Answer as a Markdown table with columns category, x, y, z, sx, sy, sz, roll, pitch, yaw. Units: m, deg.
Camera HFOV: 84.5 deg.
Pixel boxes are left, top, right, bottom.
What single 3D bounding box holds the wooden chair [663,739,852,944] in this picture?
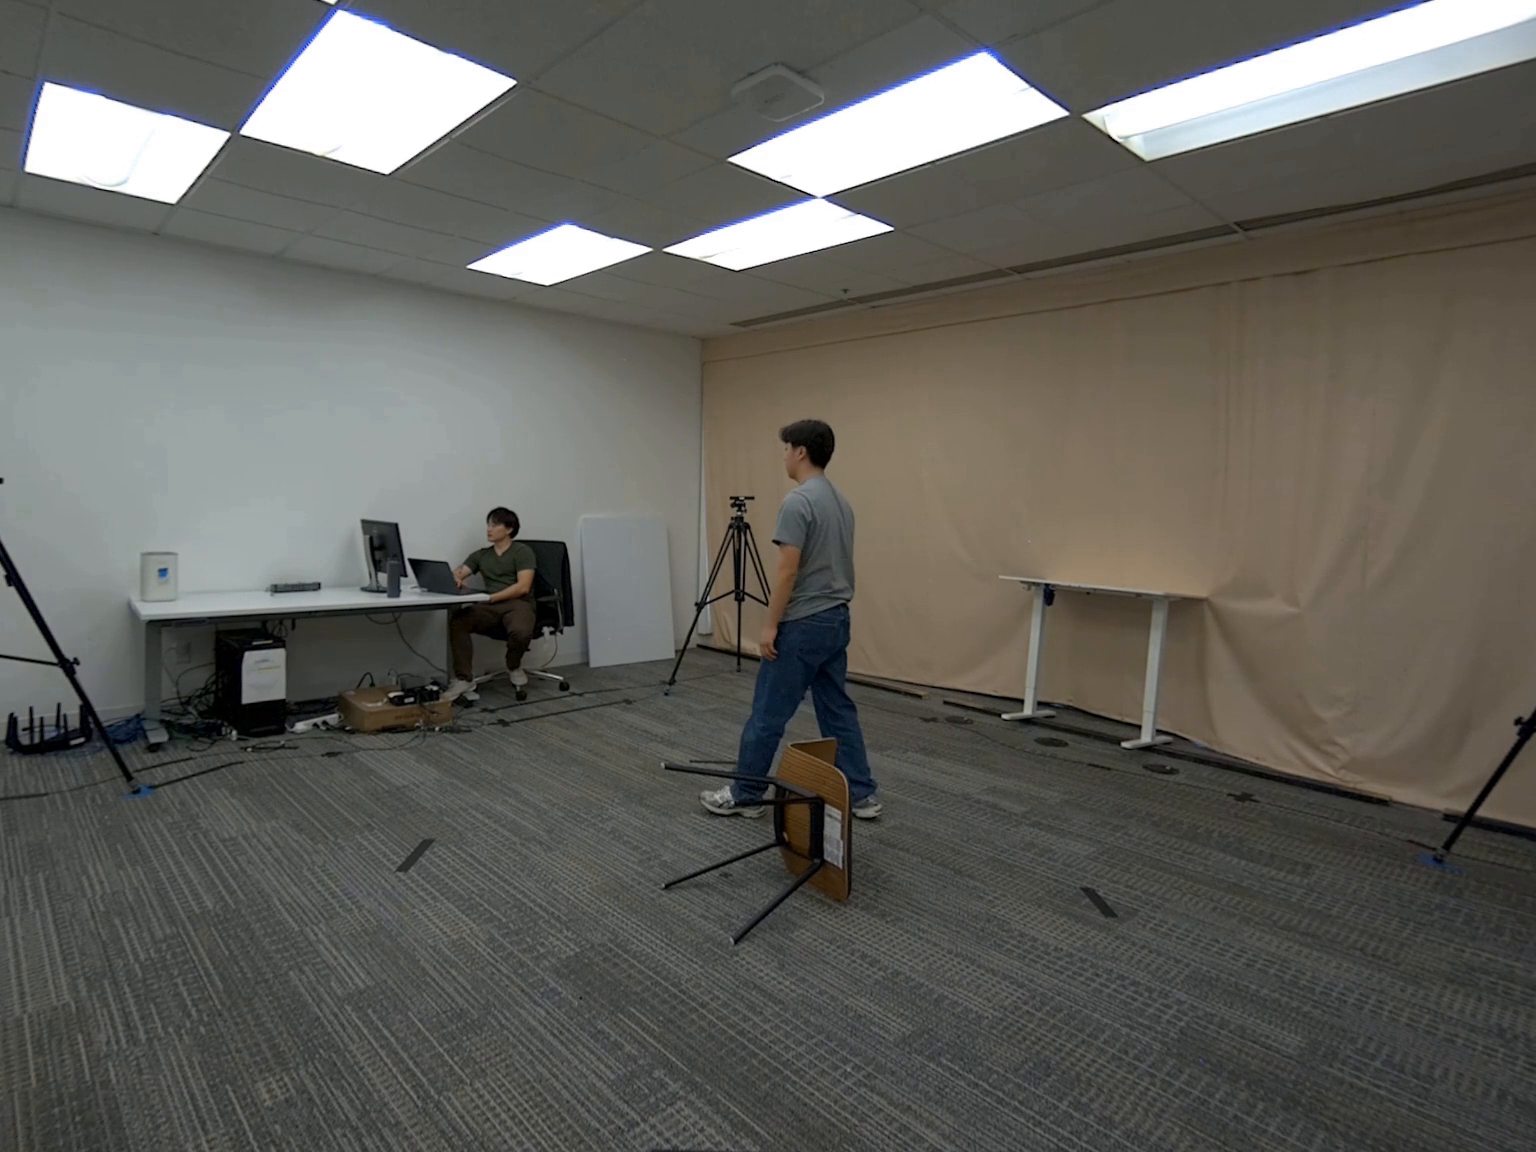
| category | x | y | z | sx | sy | sz | roll | pitch | yaw |
| --- | --- | --- | --- | --- | --- | --- | --- | --- | --- |
| wooden chair | 0.099 | 0.885 | 3.018 | 0.858 | 0.477 | 0.536 | -3 | 6 | -39 |
